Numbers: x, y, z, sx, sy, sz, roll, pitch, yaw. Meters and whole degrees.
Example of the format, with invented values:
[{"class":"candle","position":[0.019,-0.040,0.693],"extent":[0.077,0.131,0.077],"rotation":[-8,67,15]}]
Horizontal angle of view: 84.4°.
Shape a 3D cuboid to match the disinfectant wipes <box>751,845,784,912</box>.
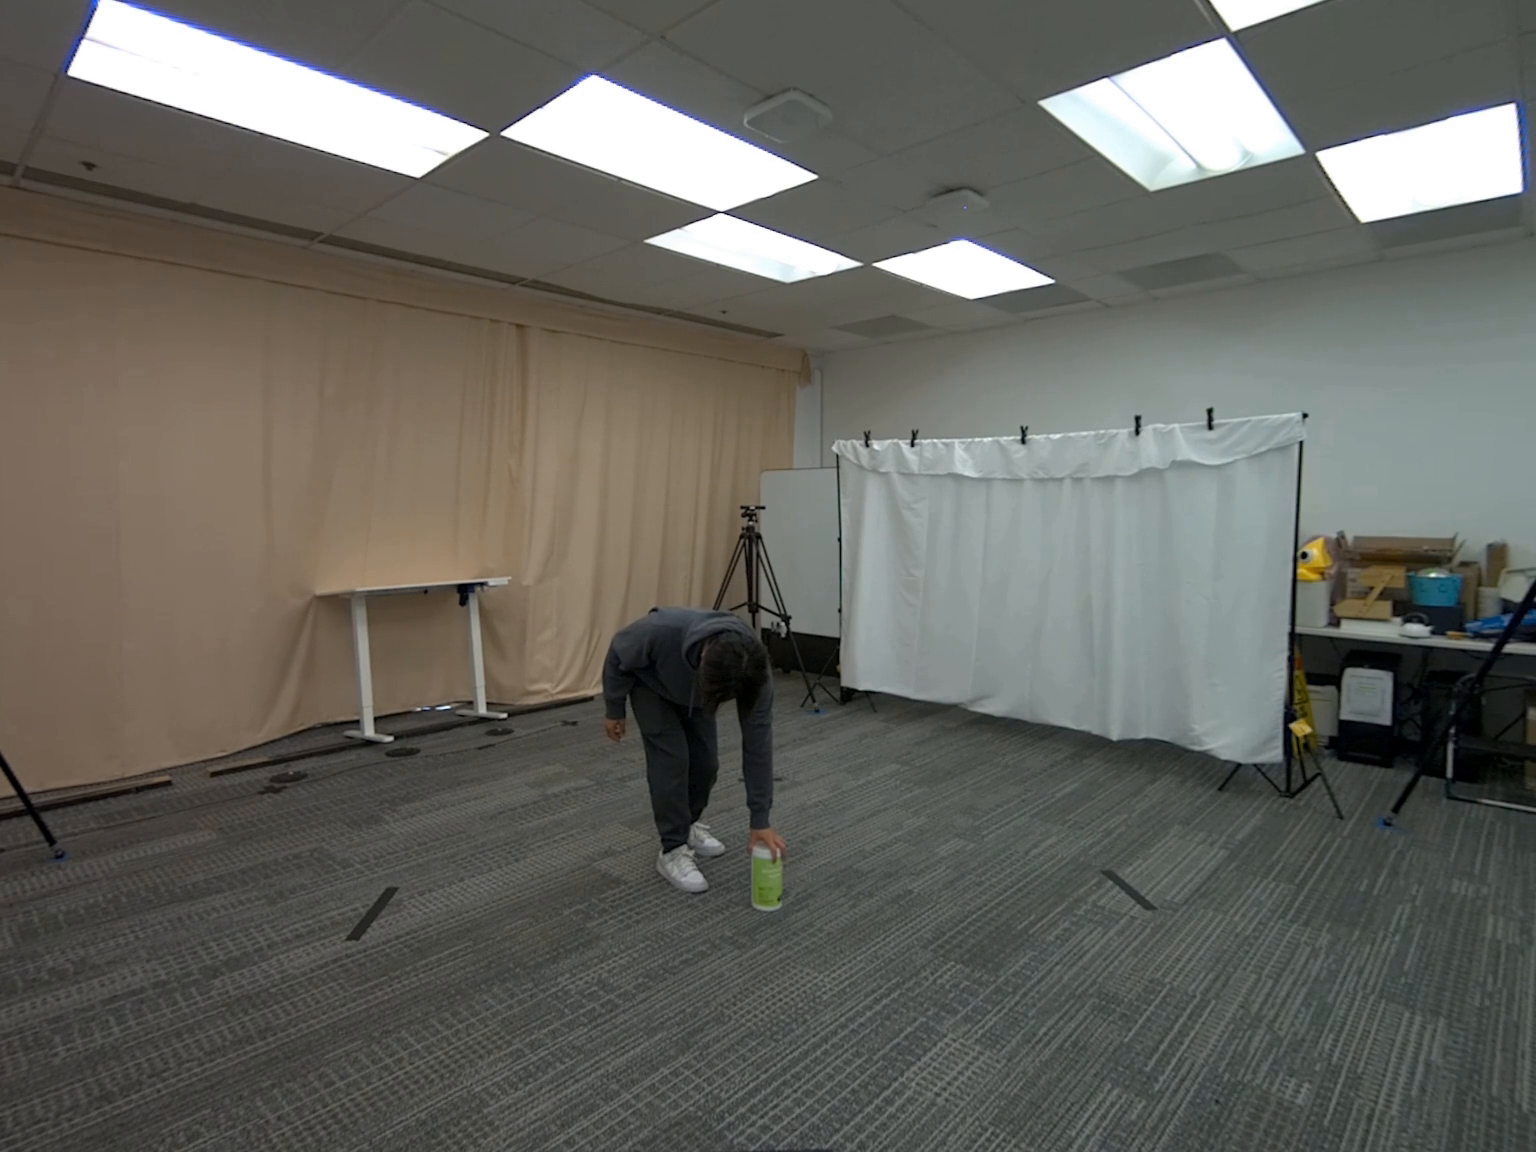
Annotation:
[{"class":"disinfectant wipes","position":[-0.004,1.044,2.933],"extent":[0.118,0.217,0.118],"rotation":[0,4,-2]}]
